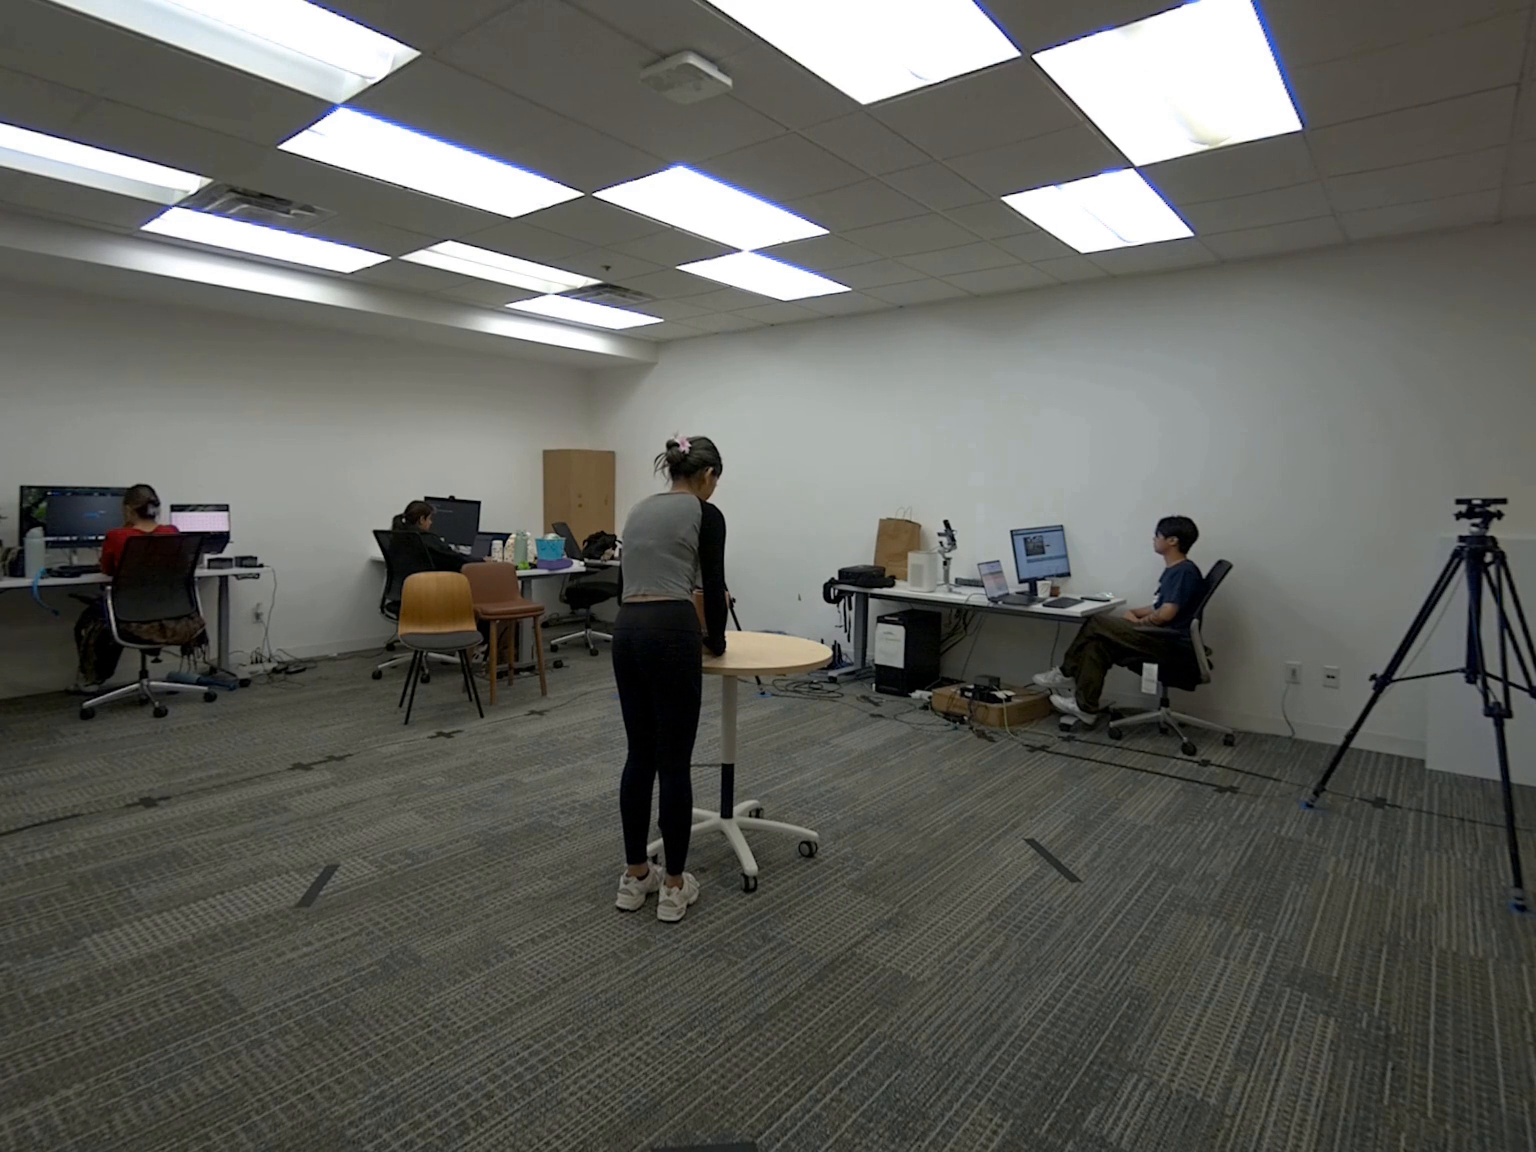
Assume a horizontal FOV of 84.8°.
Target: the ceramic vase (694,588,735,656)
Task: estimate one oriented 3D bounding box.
[{"bbox_3d":[-0.222,0.164,3.098,0.138,0.219,0.155,2,3,26],"label":"ceramic vase"}]
